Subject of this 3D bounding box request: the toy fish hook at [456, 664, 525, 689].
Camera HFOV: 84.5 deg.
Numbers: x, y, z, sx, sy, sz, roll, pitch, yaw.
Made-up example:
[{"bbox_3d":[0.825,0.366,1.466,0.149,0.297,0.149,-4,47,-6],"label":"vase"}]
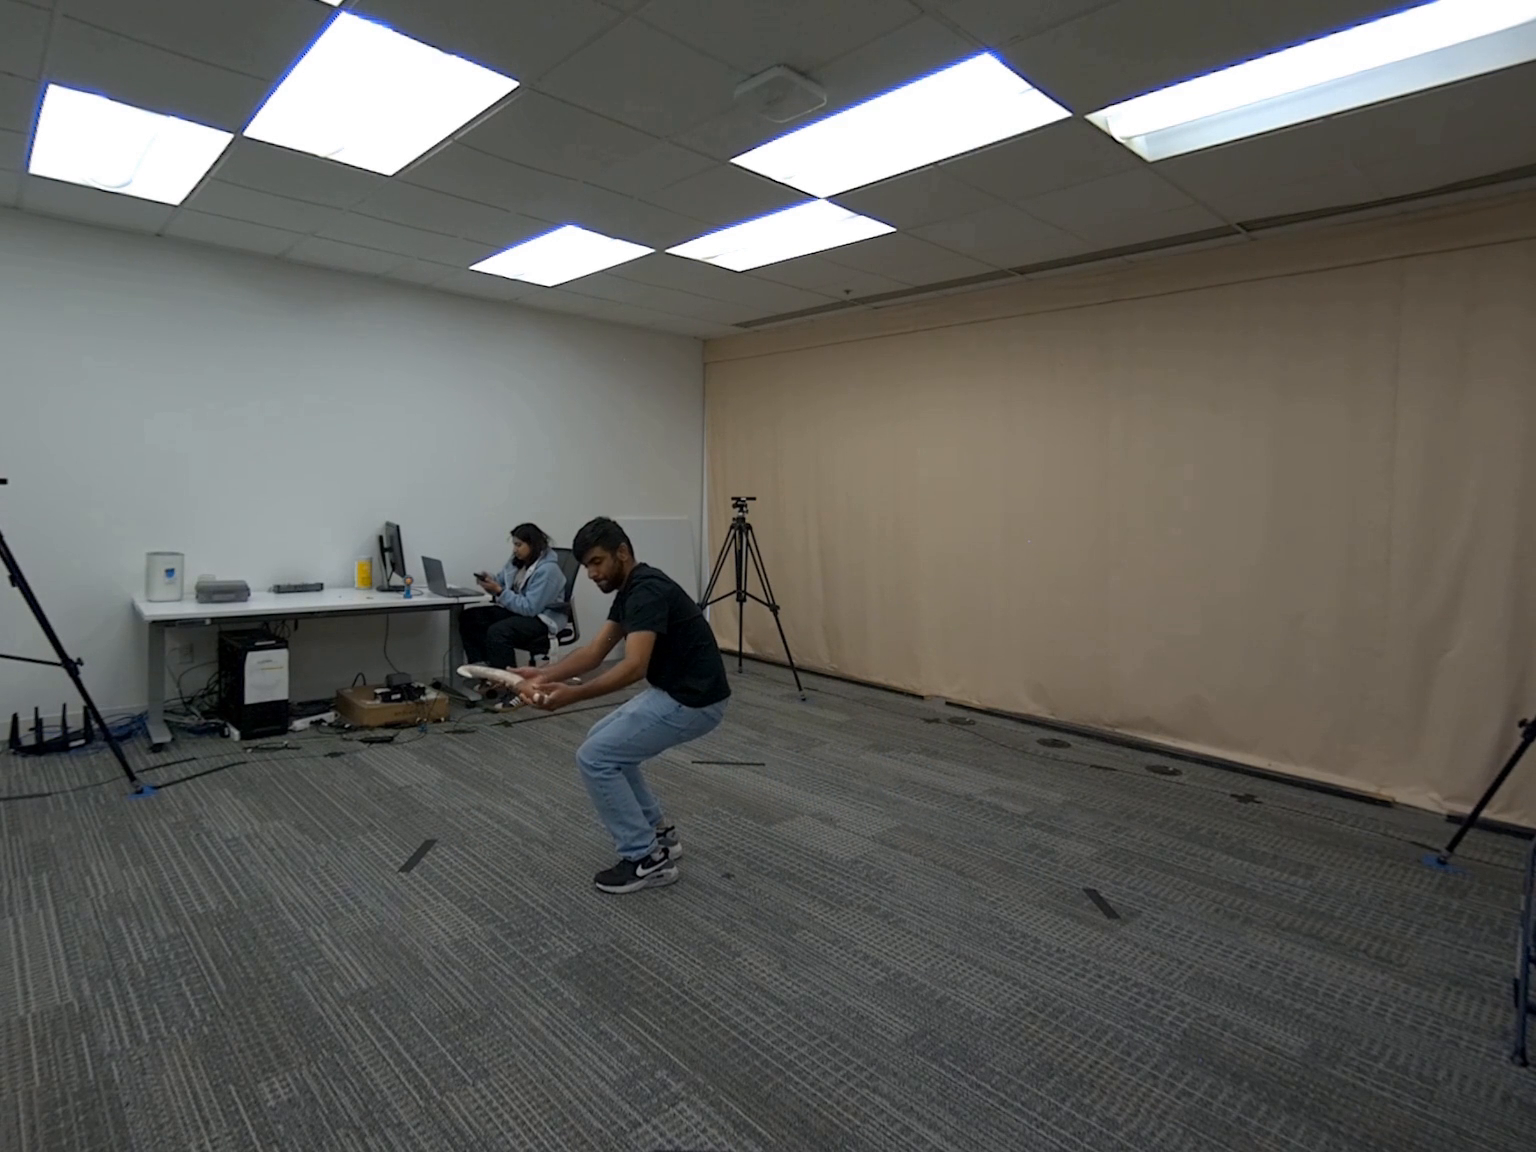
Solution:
[{"bbox_3d":[-0.850,0.344,2.678,0.219,0.048,0.517,11,-3,-31],"label":"toy fish hook"}]
